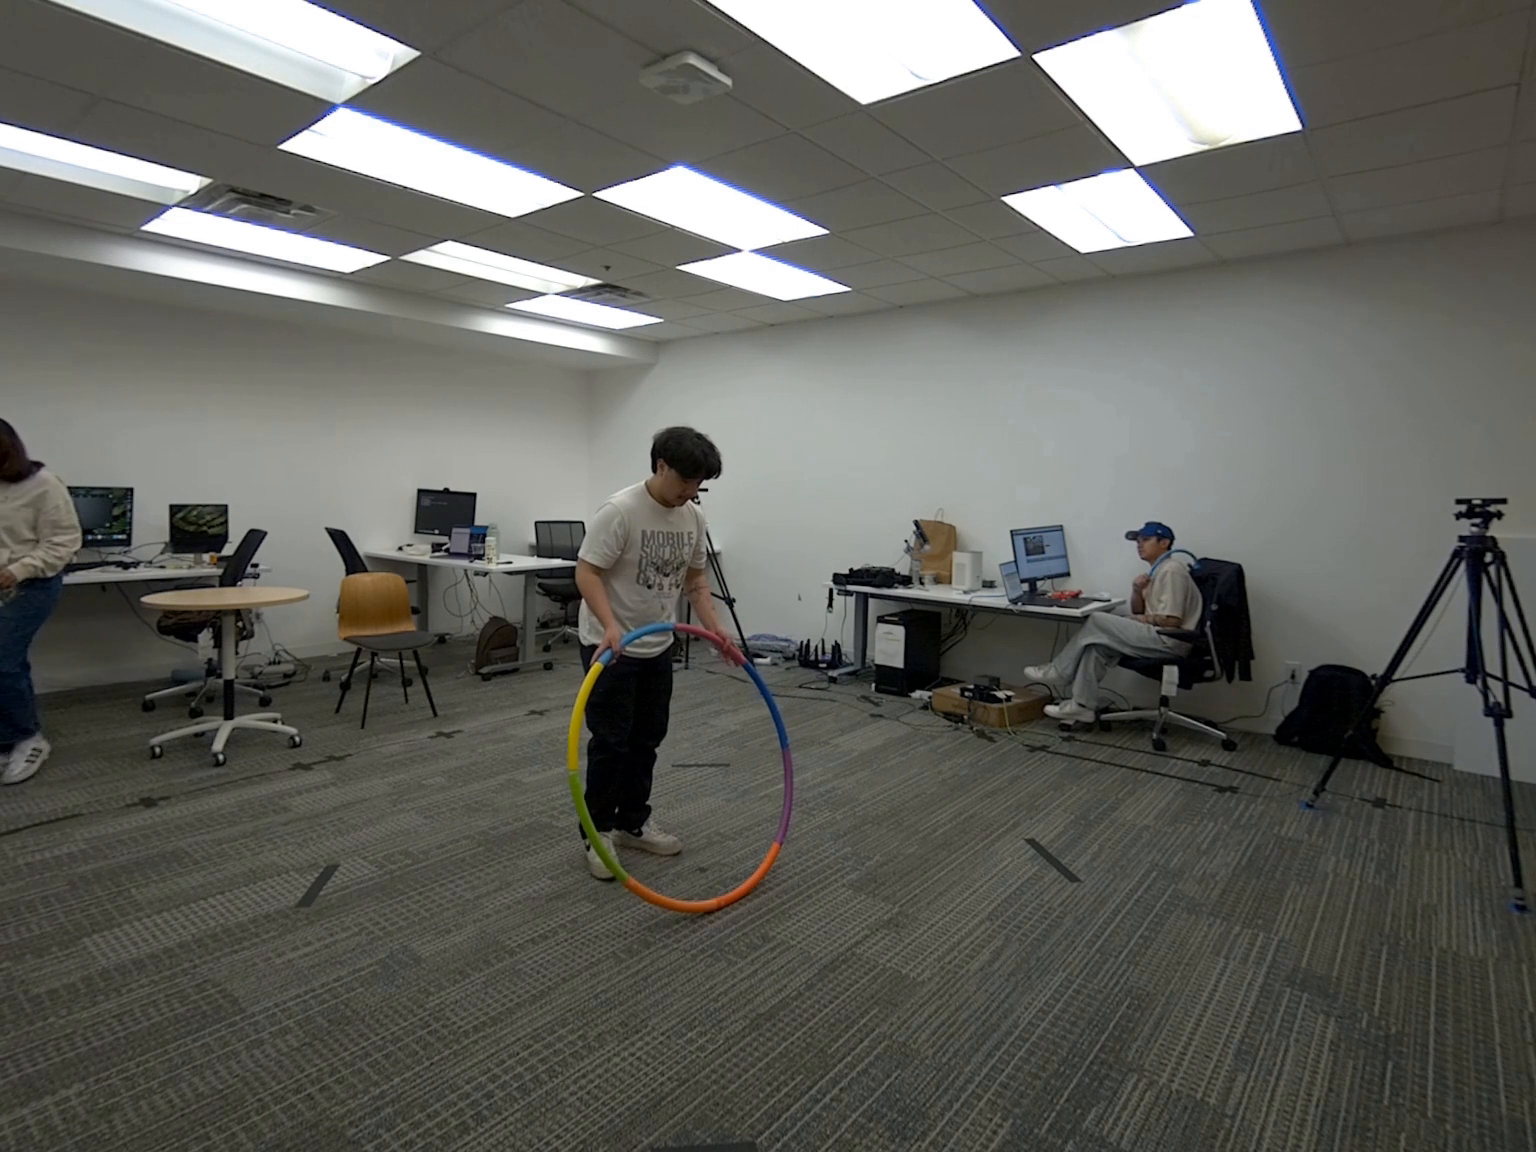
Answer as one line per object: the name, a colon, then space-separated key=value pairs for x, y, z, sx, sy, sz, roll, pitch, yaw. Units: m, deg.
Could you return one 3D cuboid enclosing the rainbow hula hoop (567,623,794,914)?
rainbow hula hoop: x=-0.271 y=0.636 z=2.950 sx=0.956 sy=1.002 sz=0.052 roll=-3 pitch=-19 yaw=-45
